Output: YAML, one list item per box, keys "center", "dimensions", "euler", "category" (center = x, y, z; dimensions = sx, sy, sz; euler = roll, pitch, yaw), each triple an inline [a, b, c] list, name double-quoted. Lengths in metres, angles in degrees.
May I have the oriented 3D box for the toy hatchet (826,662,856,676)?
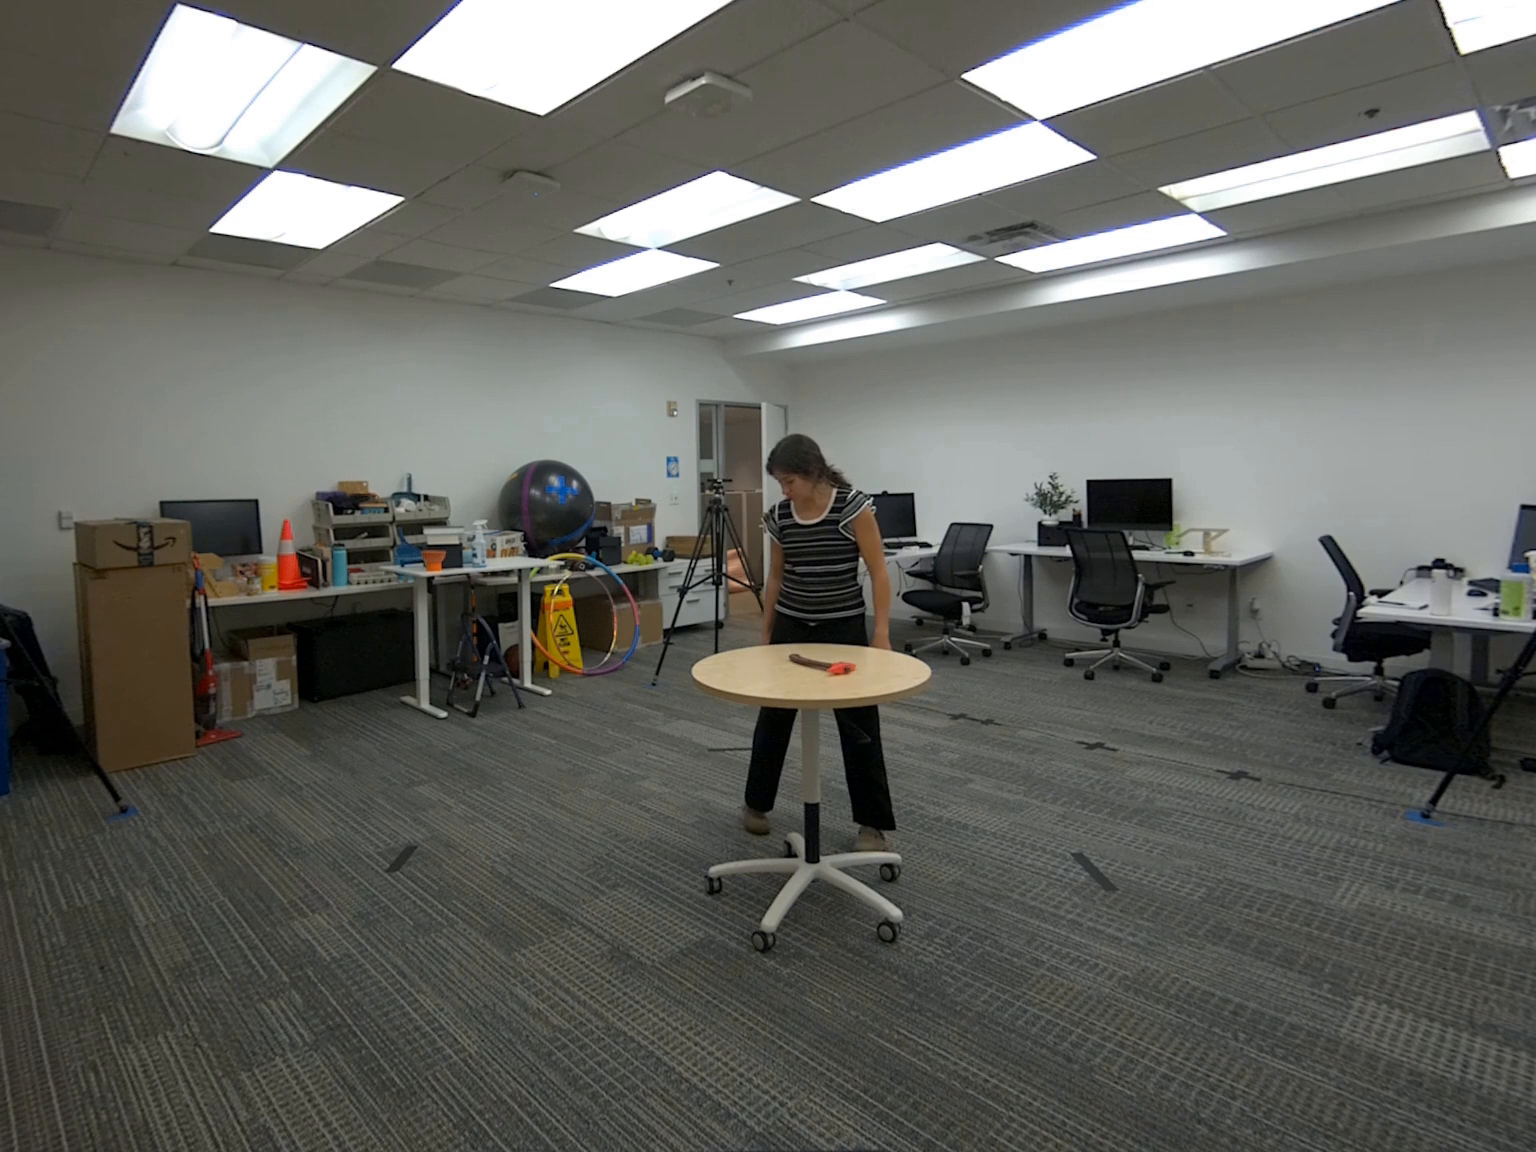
- center: [0.191, 0.285, 2.778]
  dimensions: [0.128, 0.029, 0.277]
  euler: [-4, 6, -25]
  category: "toy hatchet"
